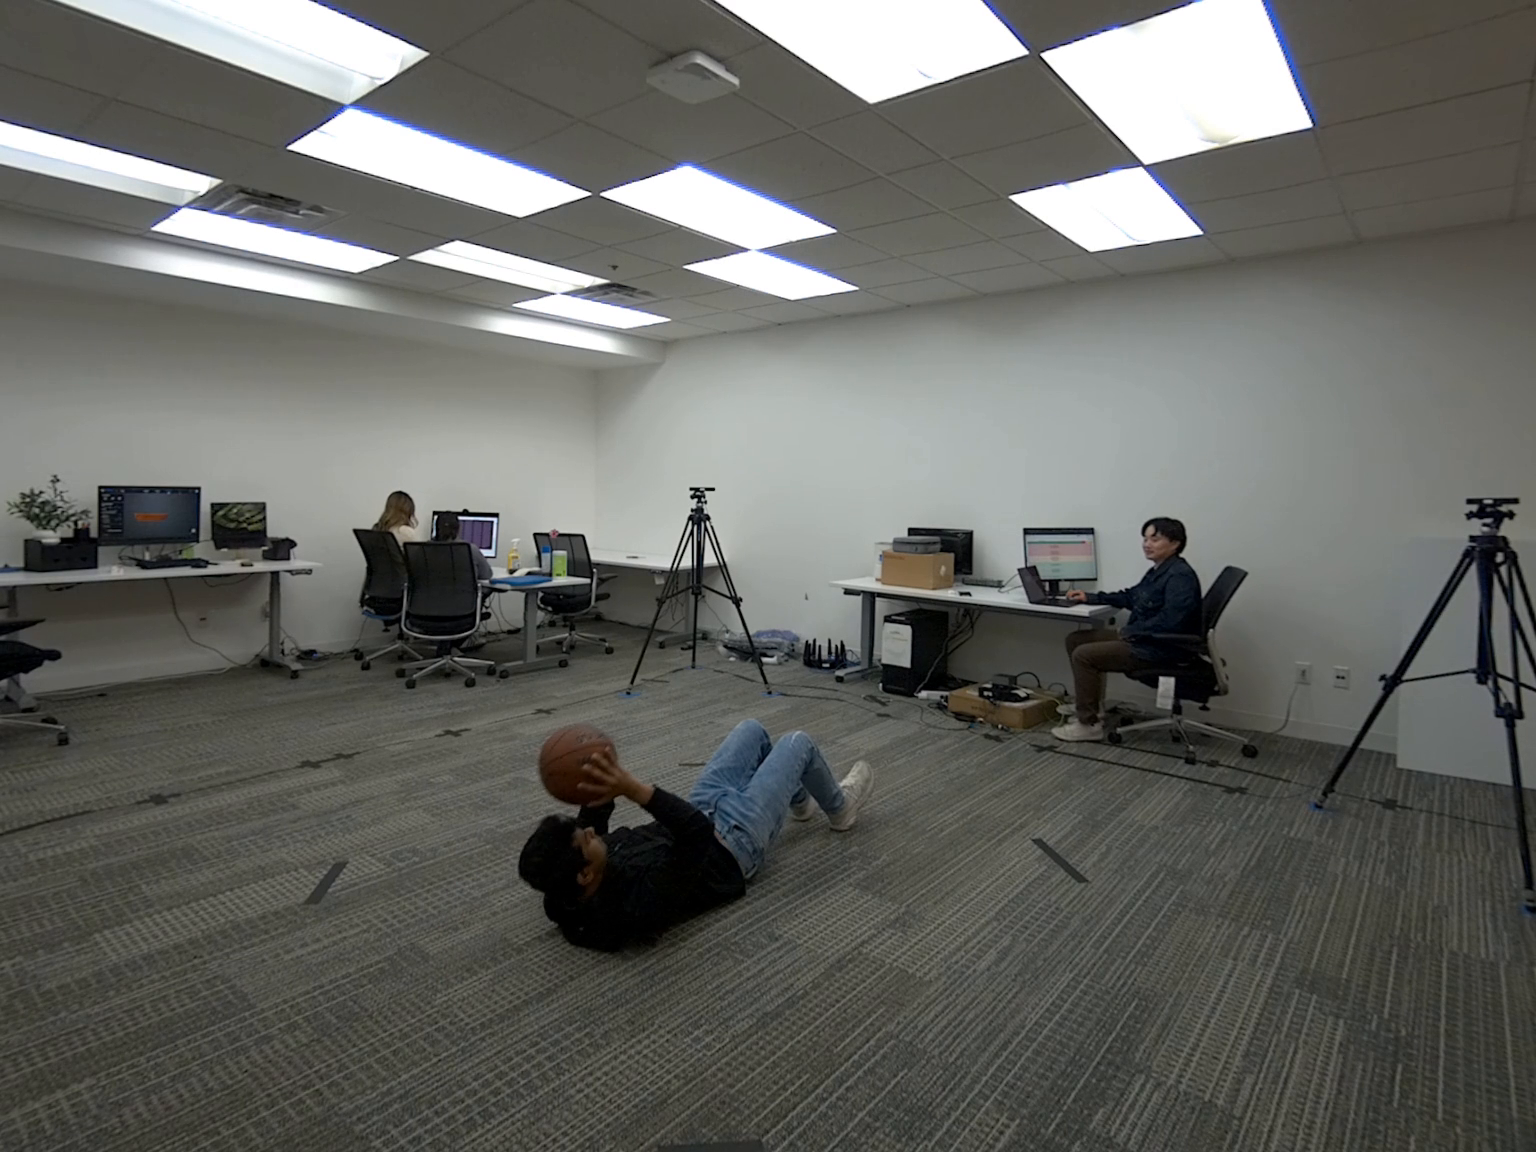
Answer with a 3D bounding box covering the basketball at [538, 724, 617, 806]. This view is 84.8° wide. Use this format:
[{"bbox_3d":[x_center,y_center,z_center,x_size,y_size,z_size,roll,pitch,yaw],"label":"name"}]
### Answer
[{"bbox_3d":[-0.573,0.582,2.571,0.235,0.235,0.237,1,4,-2],"label":"basketball"}]
